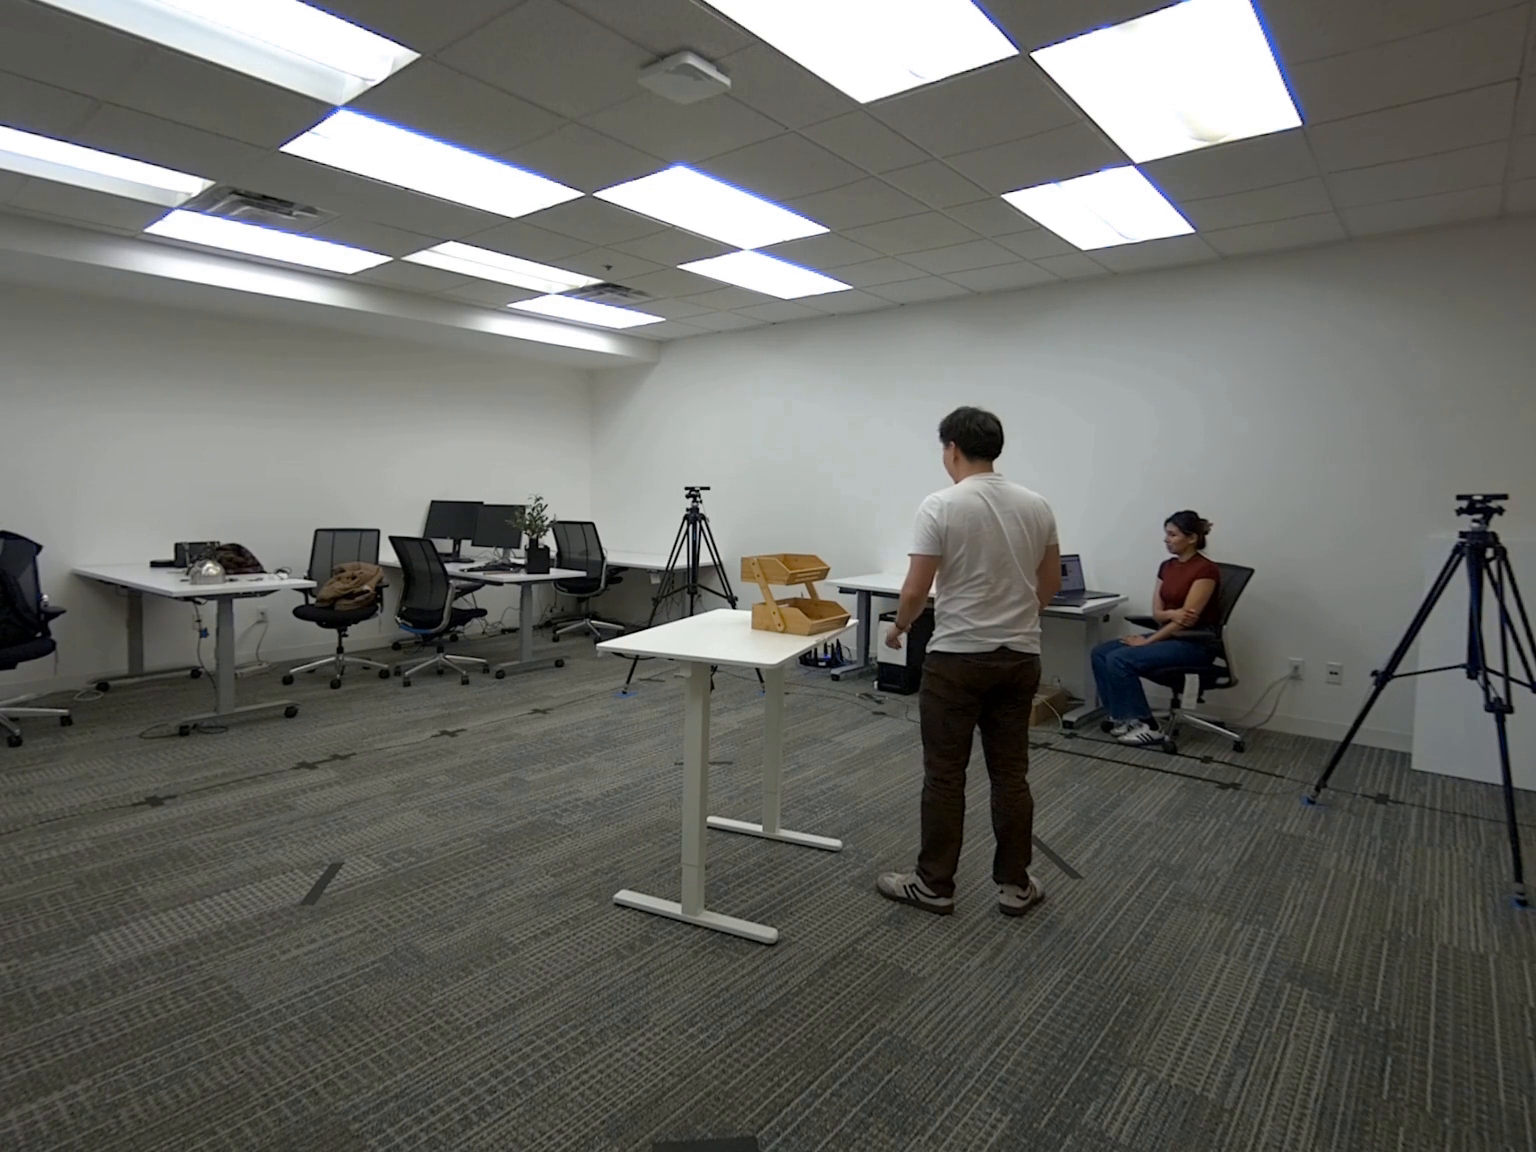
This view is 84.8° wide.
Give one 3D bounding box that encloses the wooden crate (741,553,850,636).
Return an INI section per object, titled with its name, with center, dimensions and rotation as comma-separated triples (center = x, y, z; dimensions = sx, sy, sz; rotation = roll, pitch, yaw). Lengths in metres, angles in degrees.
[wooden crate]
center = 0.099, 0.054, 3.137
dimensions = 0.311, 0.272, 0.315
rotation = 3, 4, 33
